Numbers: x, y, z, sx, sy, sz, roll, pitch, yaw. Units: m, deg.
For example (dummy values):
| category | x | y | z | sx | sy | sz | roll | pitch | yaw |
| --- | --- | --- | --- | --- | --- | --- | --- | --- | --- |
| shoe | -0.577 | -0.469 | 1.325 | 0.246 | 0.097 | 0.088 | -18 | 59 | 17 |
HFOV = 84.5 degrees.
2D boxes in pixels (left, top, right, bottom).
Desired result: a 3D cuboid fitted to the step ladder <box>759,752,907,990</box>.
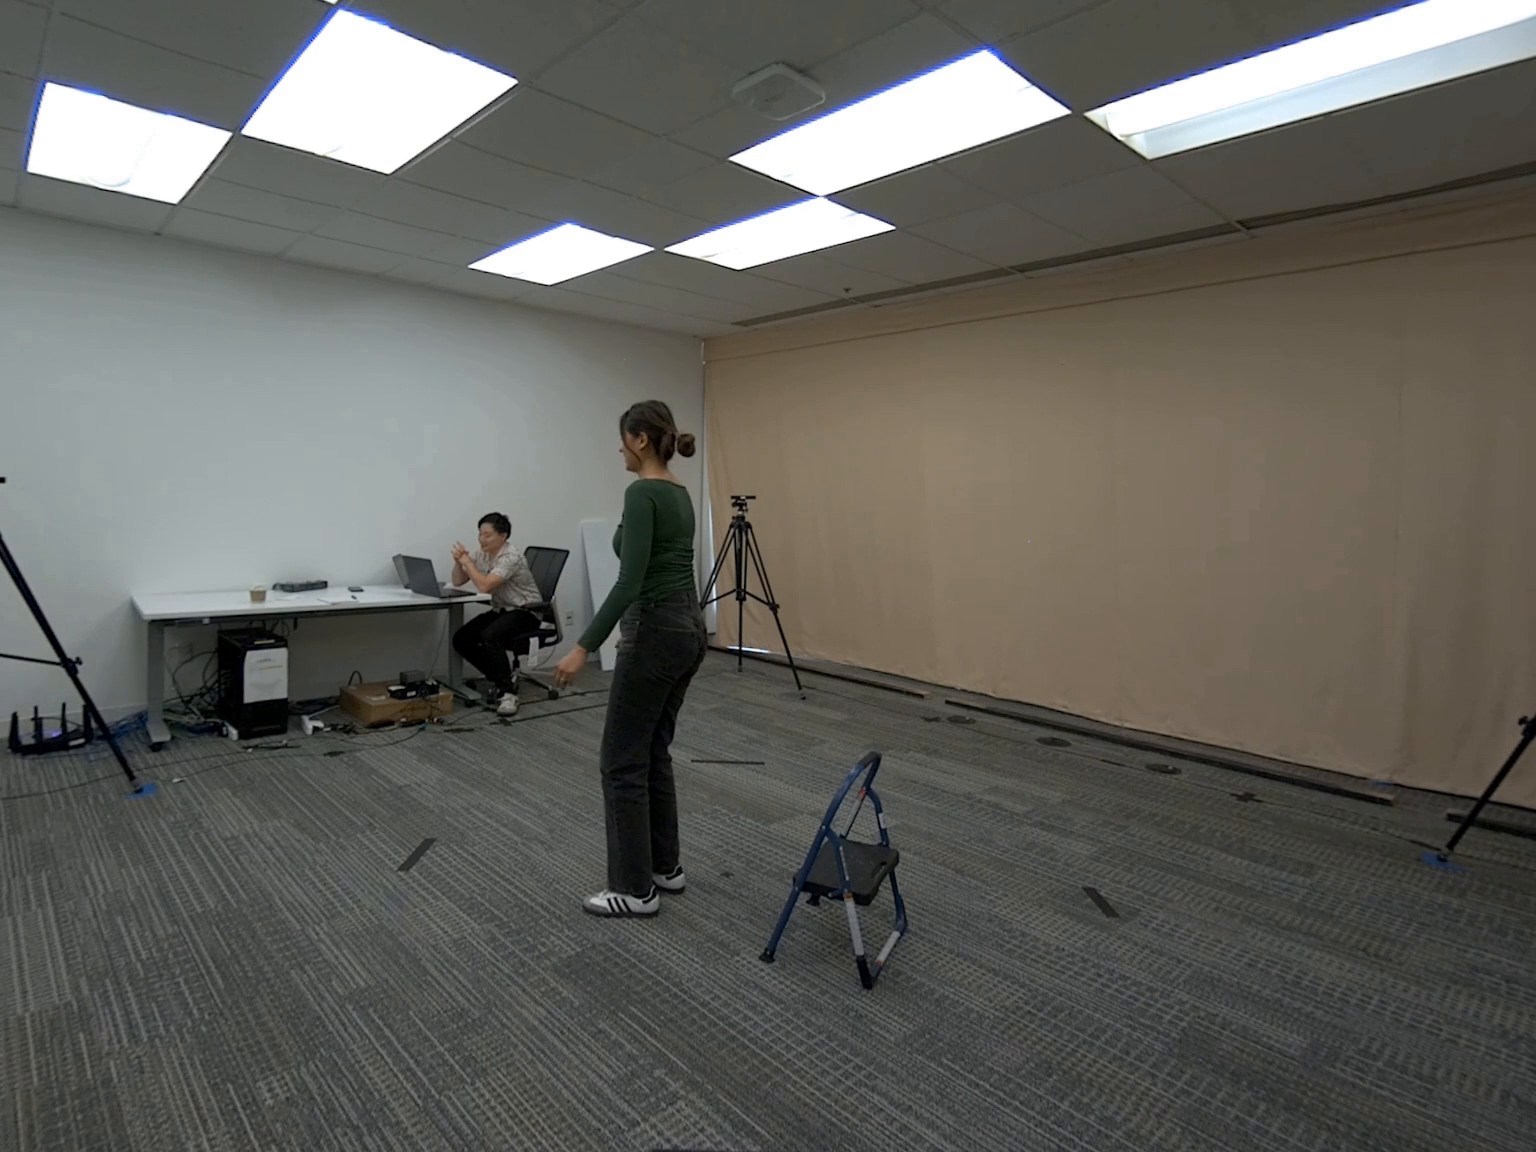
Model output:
| category | x | y | z | sx | sy | sz | roll | pitch | yaw |
| --- | --- | --- | --- | --- | --- | --- | --- | --- | --- |
| step ladder | 0.225 | 0.851 | 2.620 | 0.356 | 0.604 | 0.424 | 4 | 5 | 24 |
